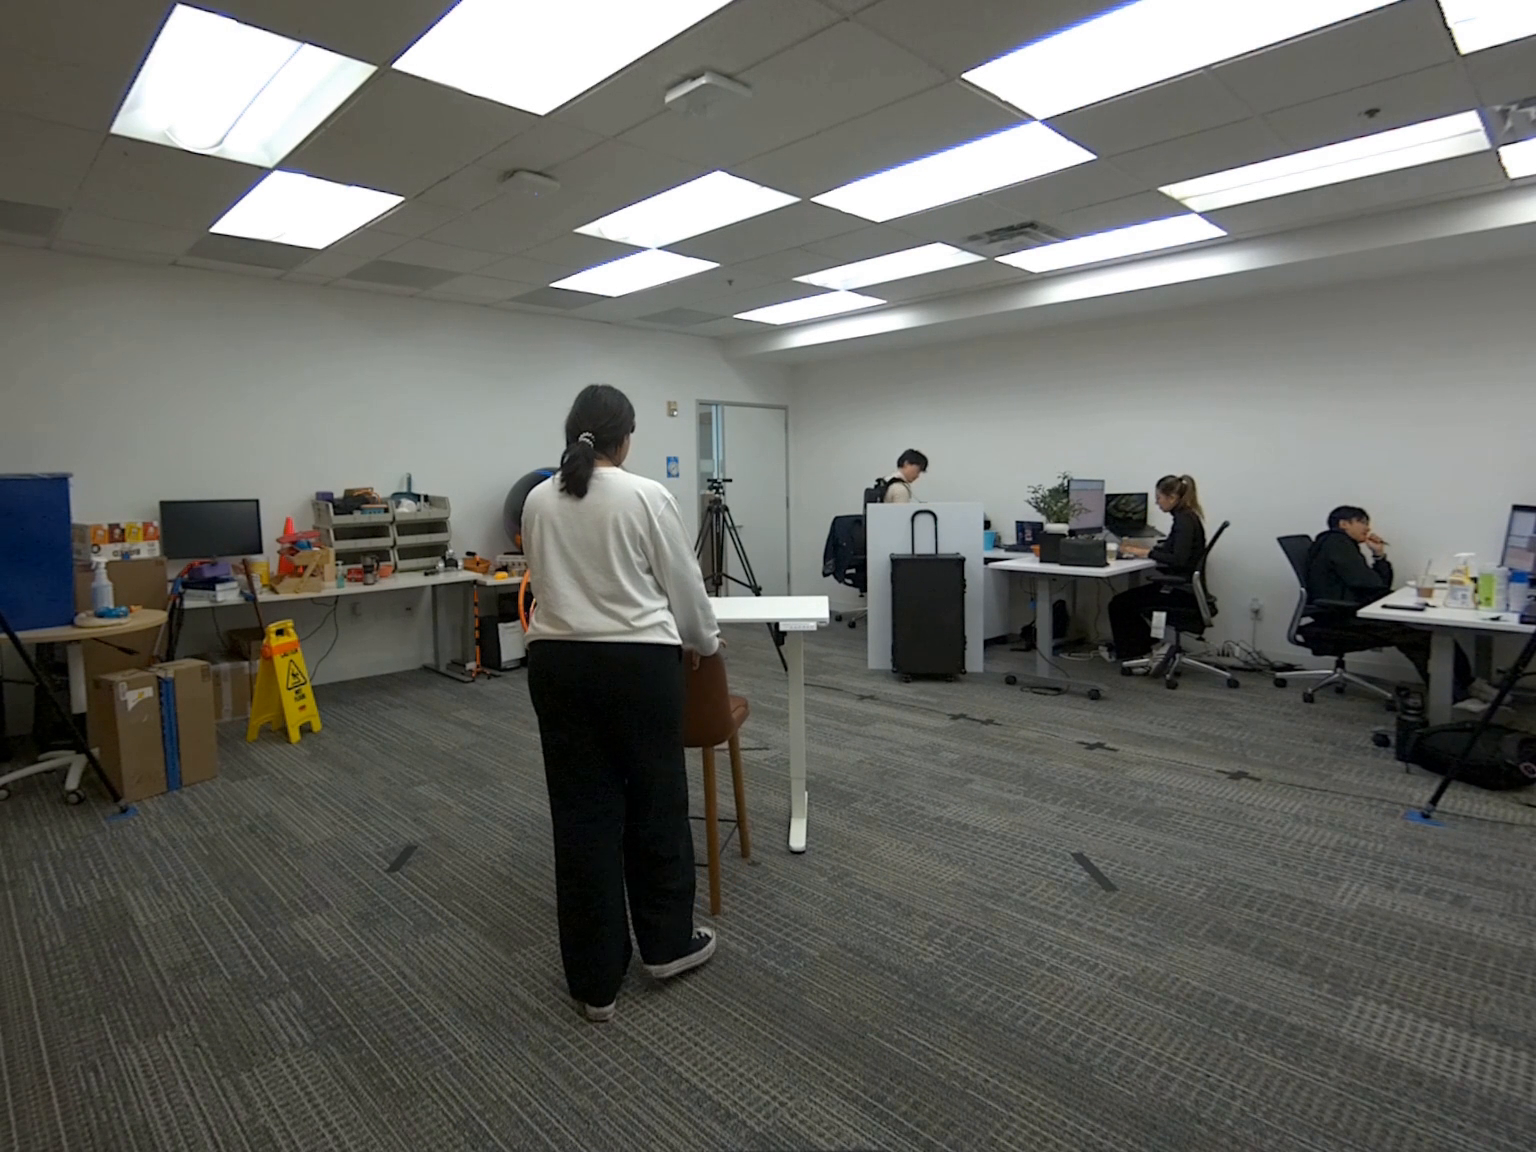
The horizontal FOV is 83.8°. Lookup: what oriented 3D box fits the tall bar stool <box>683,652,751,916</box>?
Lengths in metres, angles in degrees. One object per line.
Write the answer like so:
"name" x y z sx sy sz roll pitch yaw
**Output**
"tall bar stool" -0.305 0.628 2.969 0.463 0.884 0.464 0 7 13
